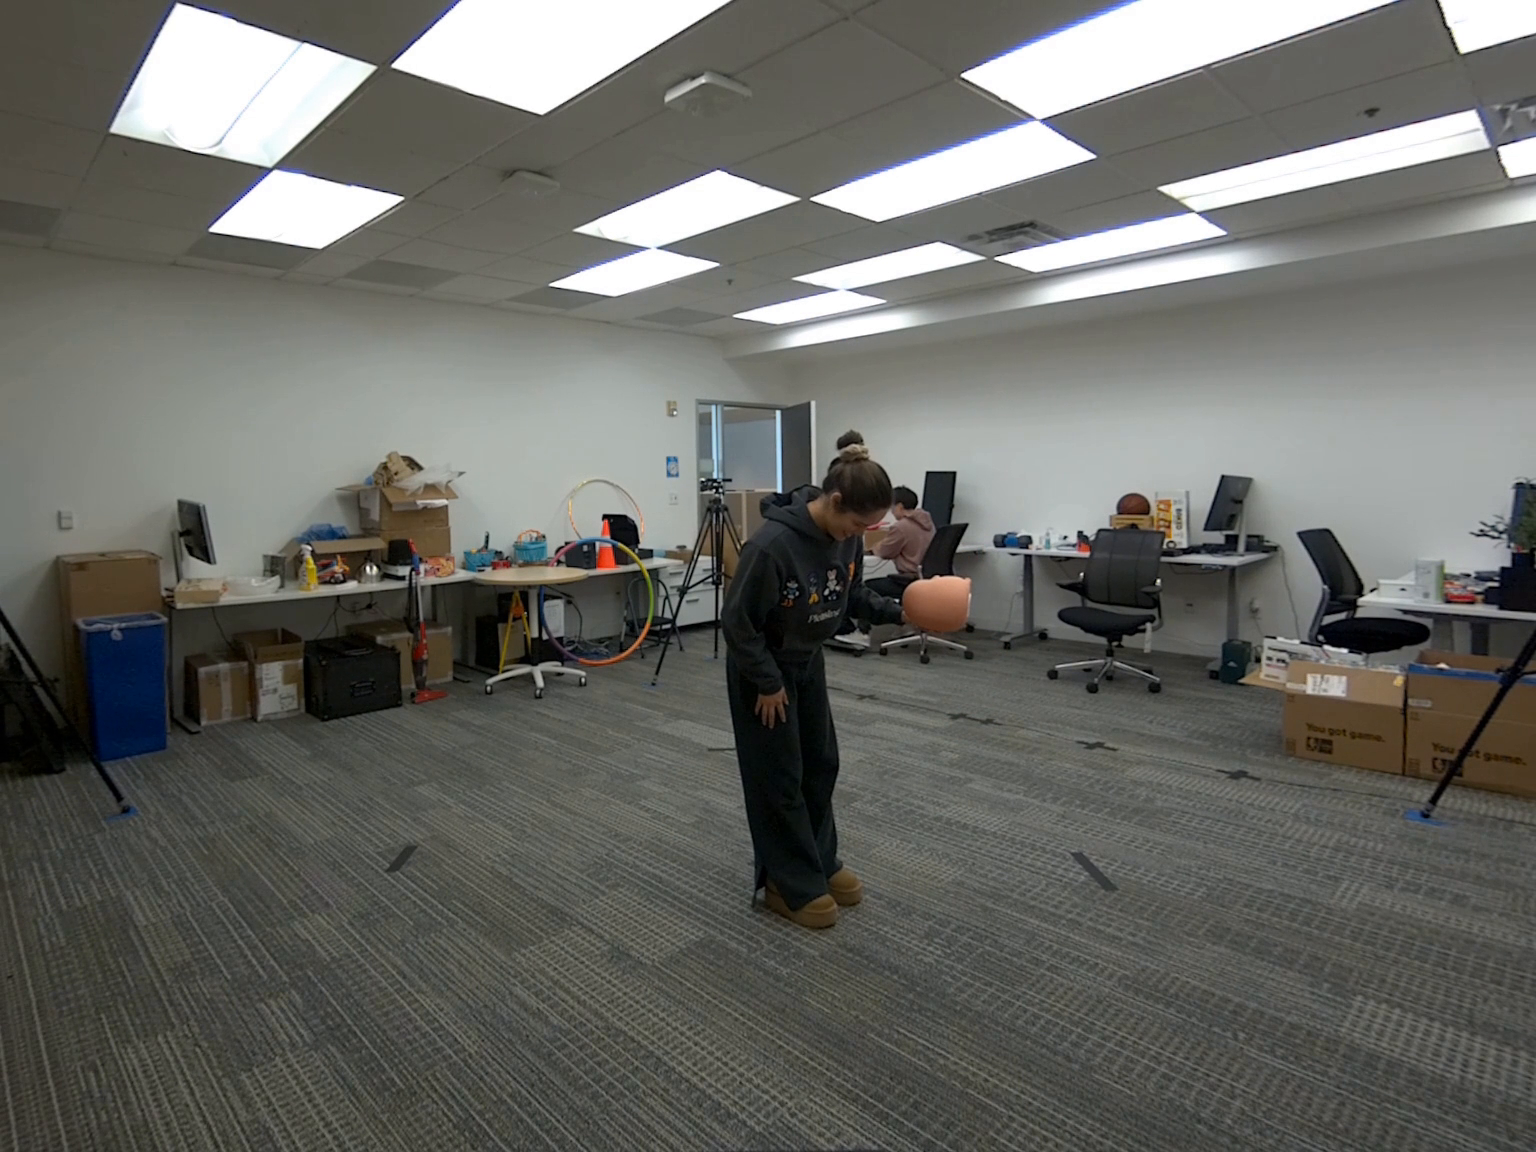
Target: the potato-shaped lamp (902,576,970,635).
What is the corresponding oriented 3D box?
[{"bbox_3d":[0.507,0.079,2.582,0.202,0.159,0.173,9,47,17],"label":"potato-shaped lamp"}]
